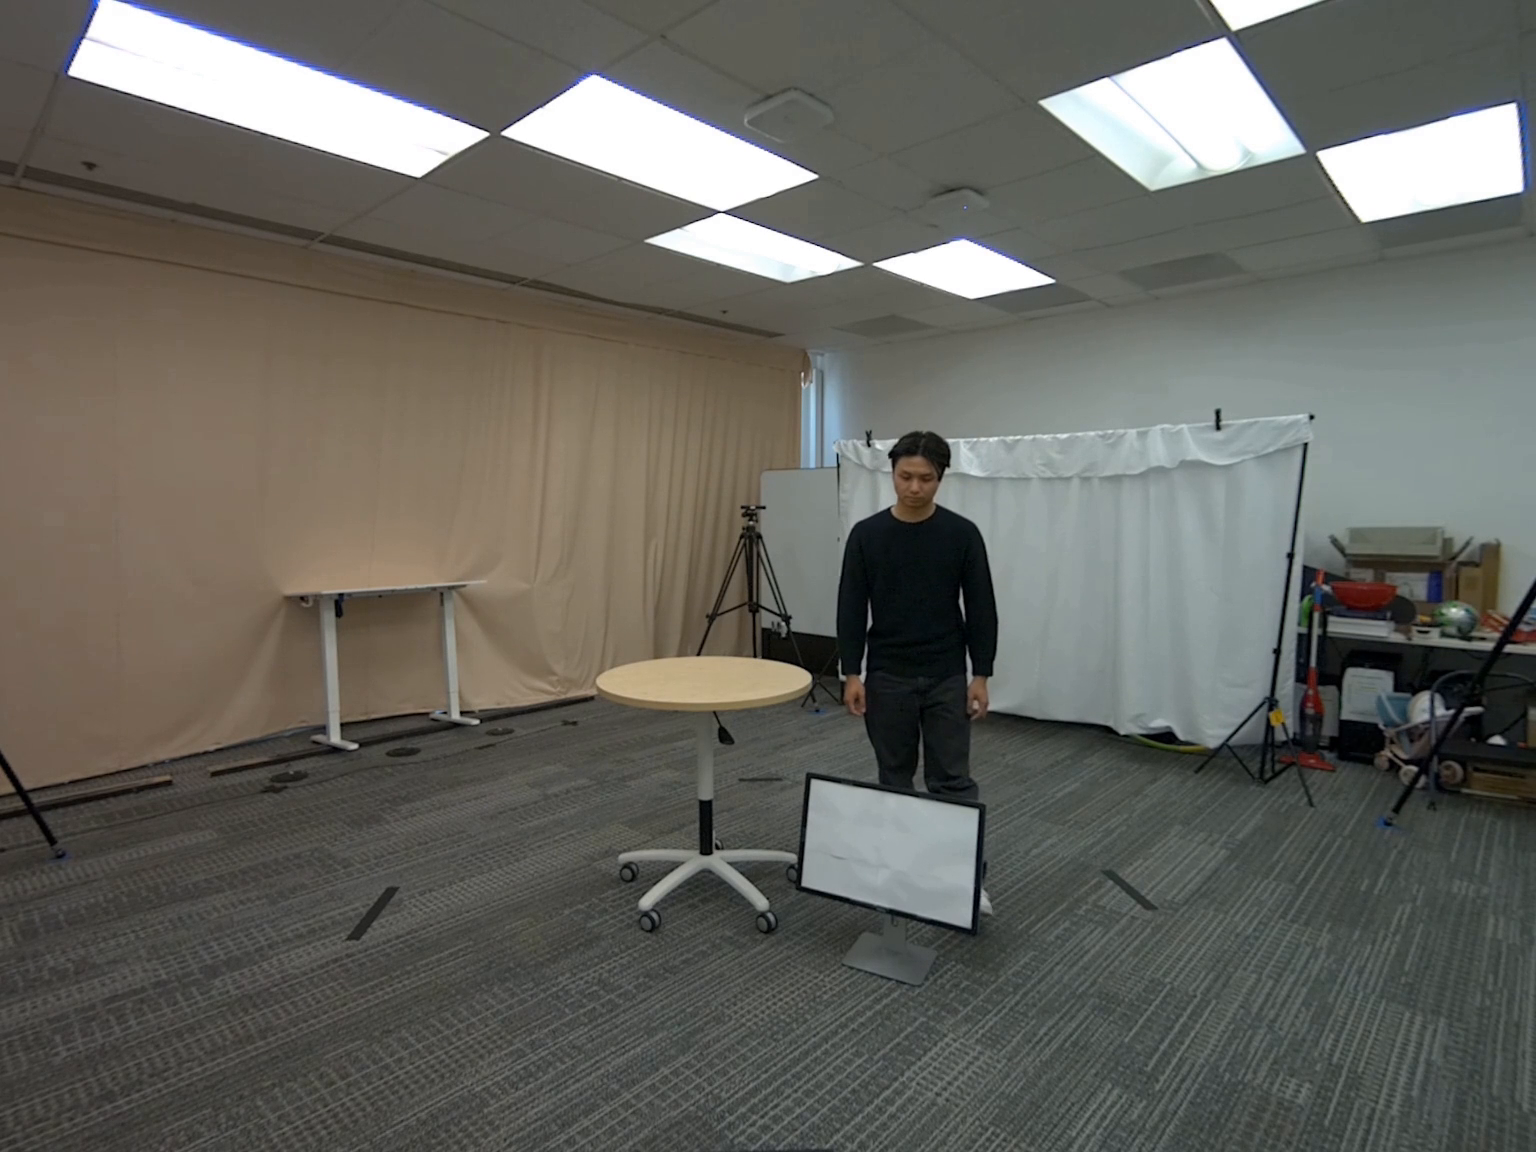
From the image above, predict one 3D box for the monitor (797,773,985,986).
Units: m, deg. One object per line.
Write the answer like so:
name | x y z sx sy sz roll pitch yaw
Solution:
monitor | 0.377 0.911 2.562 0.554 0.521 0.182 2 6 28
